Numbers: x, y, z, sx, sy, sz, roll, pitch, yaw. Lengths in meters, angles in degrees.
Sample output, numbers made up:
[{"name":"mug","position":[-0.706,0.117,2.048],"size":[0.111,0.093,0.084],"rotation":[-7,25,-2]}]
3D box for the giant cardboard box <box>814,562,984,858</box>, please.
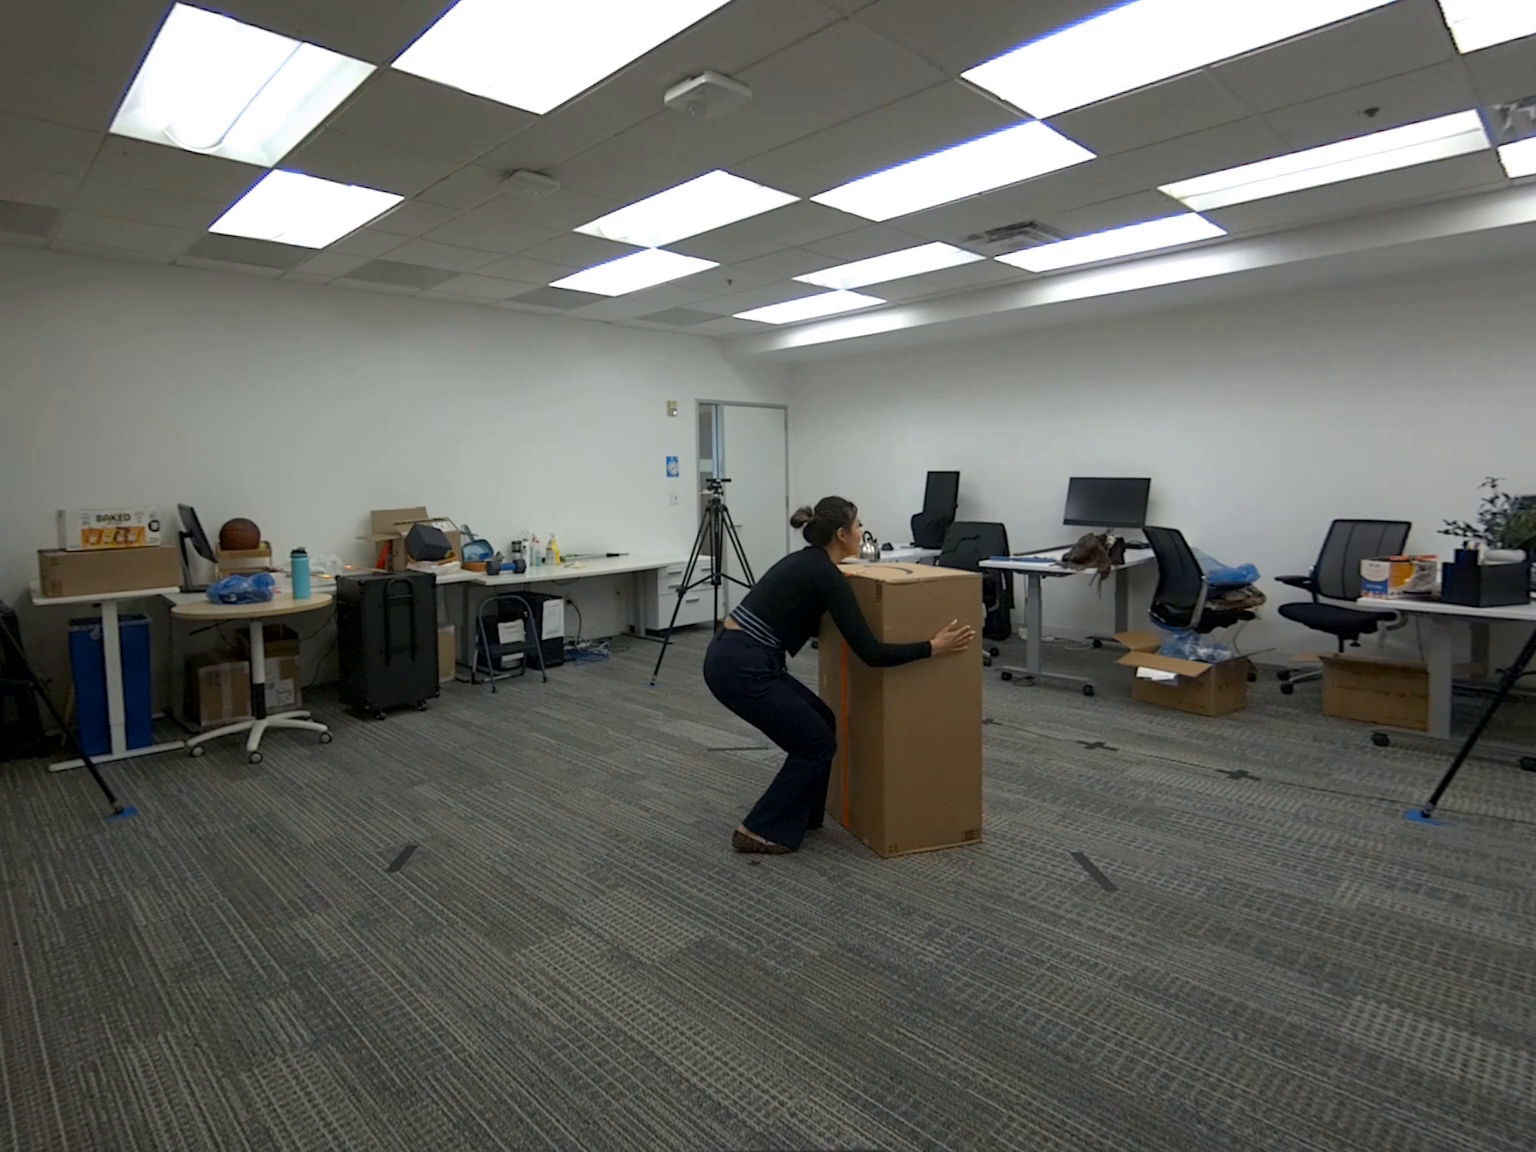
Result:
[{"name":"giant cardboard box","position":[0.509,0.489,3.420],"size":[0.419,1.023,0.589],"rotation":[-2,4,-19]}]
